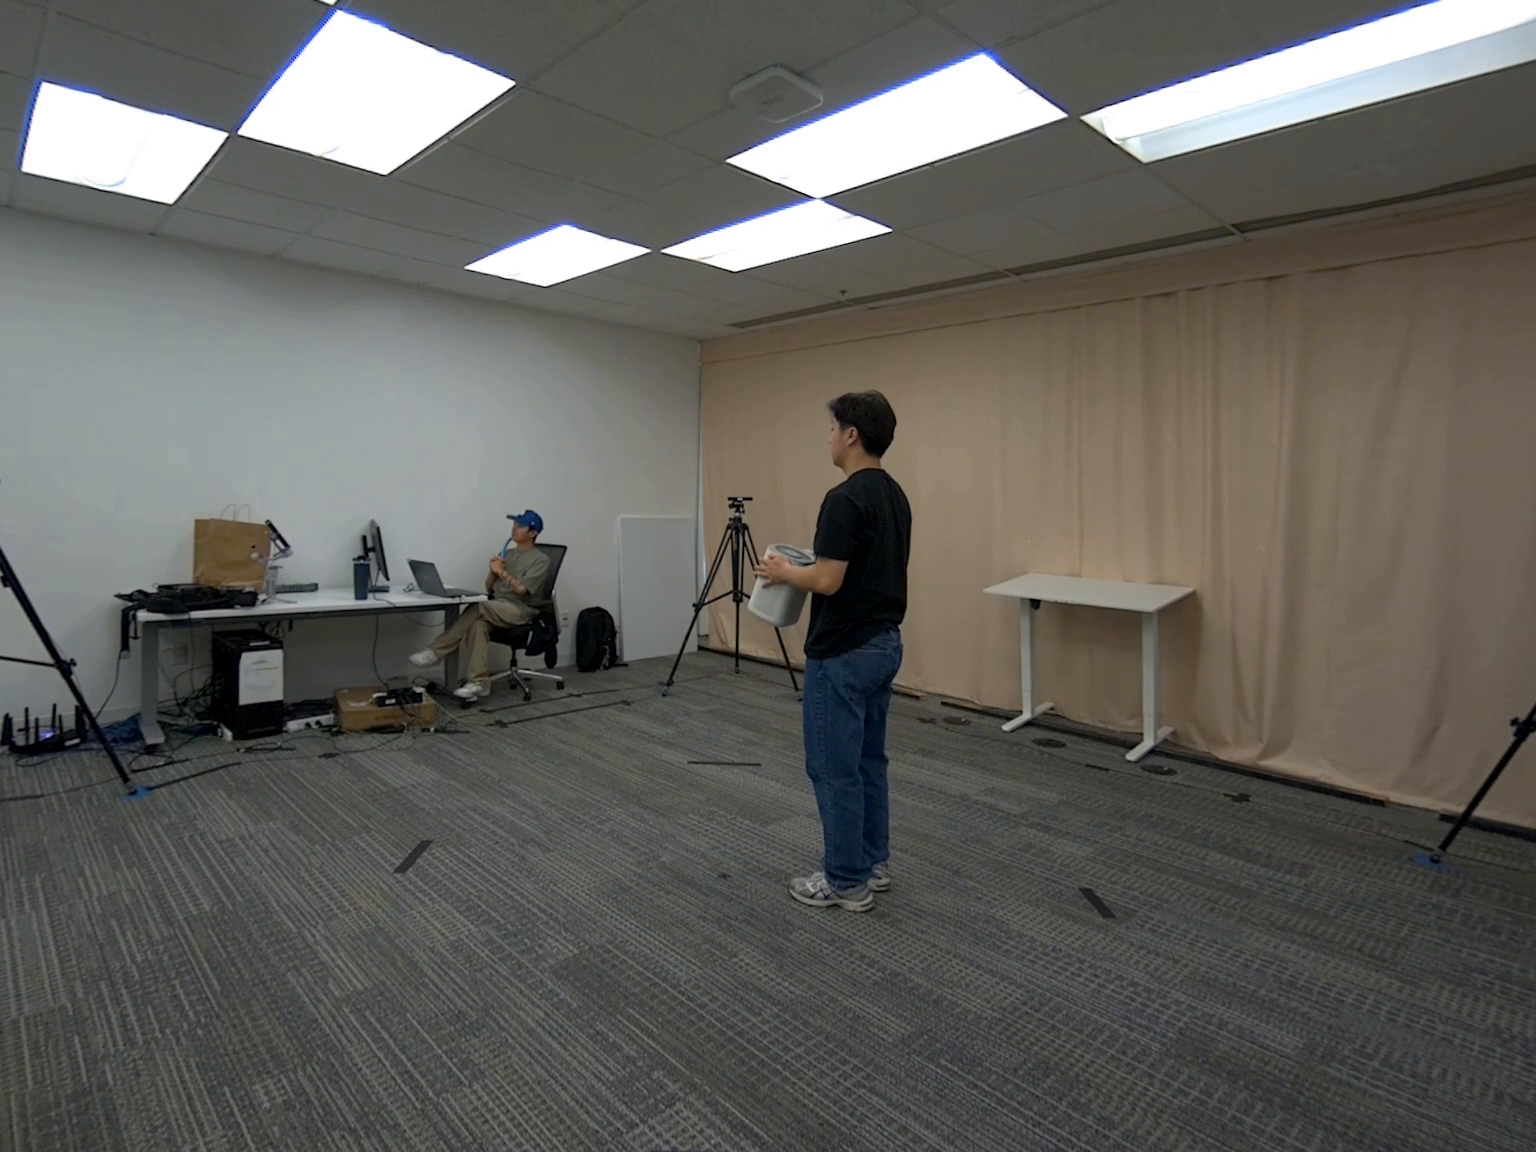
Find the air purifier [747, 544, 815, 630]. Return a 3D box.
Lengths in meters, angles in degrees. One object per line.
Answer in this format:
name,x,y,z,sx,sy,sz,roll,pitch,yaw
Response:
air purifier,0.048,0.041,3.071,0.176,0.263,0.168,27,18,26
